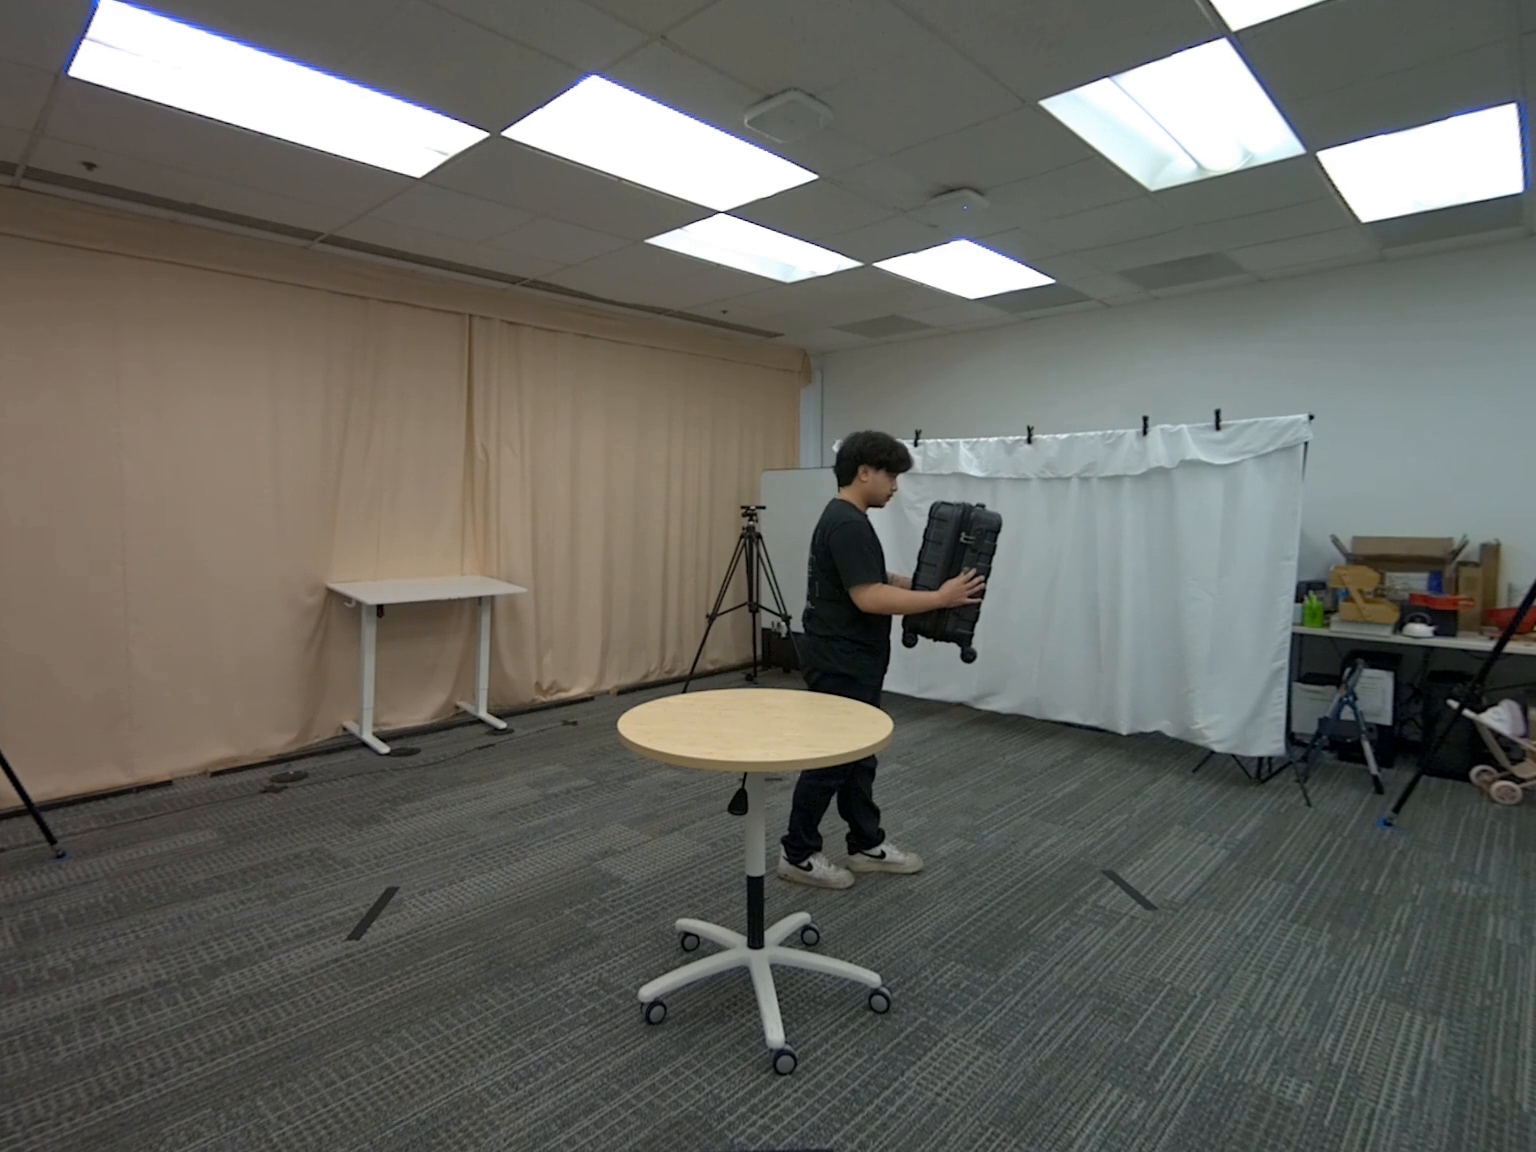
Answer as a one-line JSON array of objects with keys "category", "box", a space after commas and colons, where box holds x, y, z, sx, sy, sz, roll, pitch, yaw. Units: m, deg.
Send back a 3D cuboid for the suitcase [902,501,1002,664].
[{"category": "suitcase", "box": [0.675, -0.007, 3.087, 0.252, 0.548, 0.370, 11, 6, 12]}]
